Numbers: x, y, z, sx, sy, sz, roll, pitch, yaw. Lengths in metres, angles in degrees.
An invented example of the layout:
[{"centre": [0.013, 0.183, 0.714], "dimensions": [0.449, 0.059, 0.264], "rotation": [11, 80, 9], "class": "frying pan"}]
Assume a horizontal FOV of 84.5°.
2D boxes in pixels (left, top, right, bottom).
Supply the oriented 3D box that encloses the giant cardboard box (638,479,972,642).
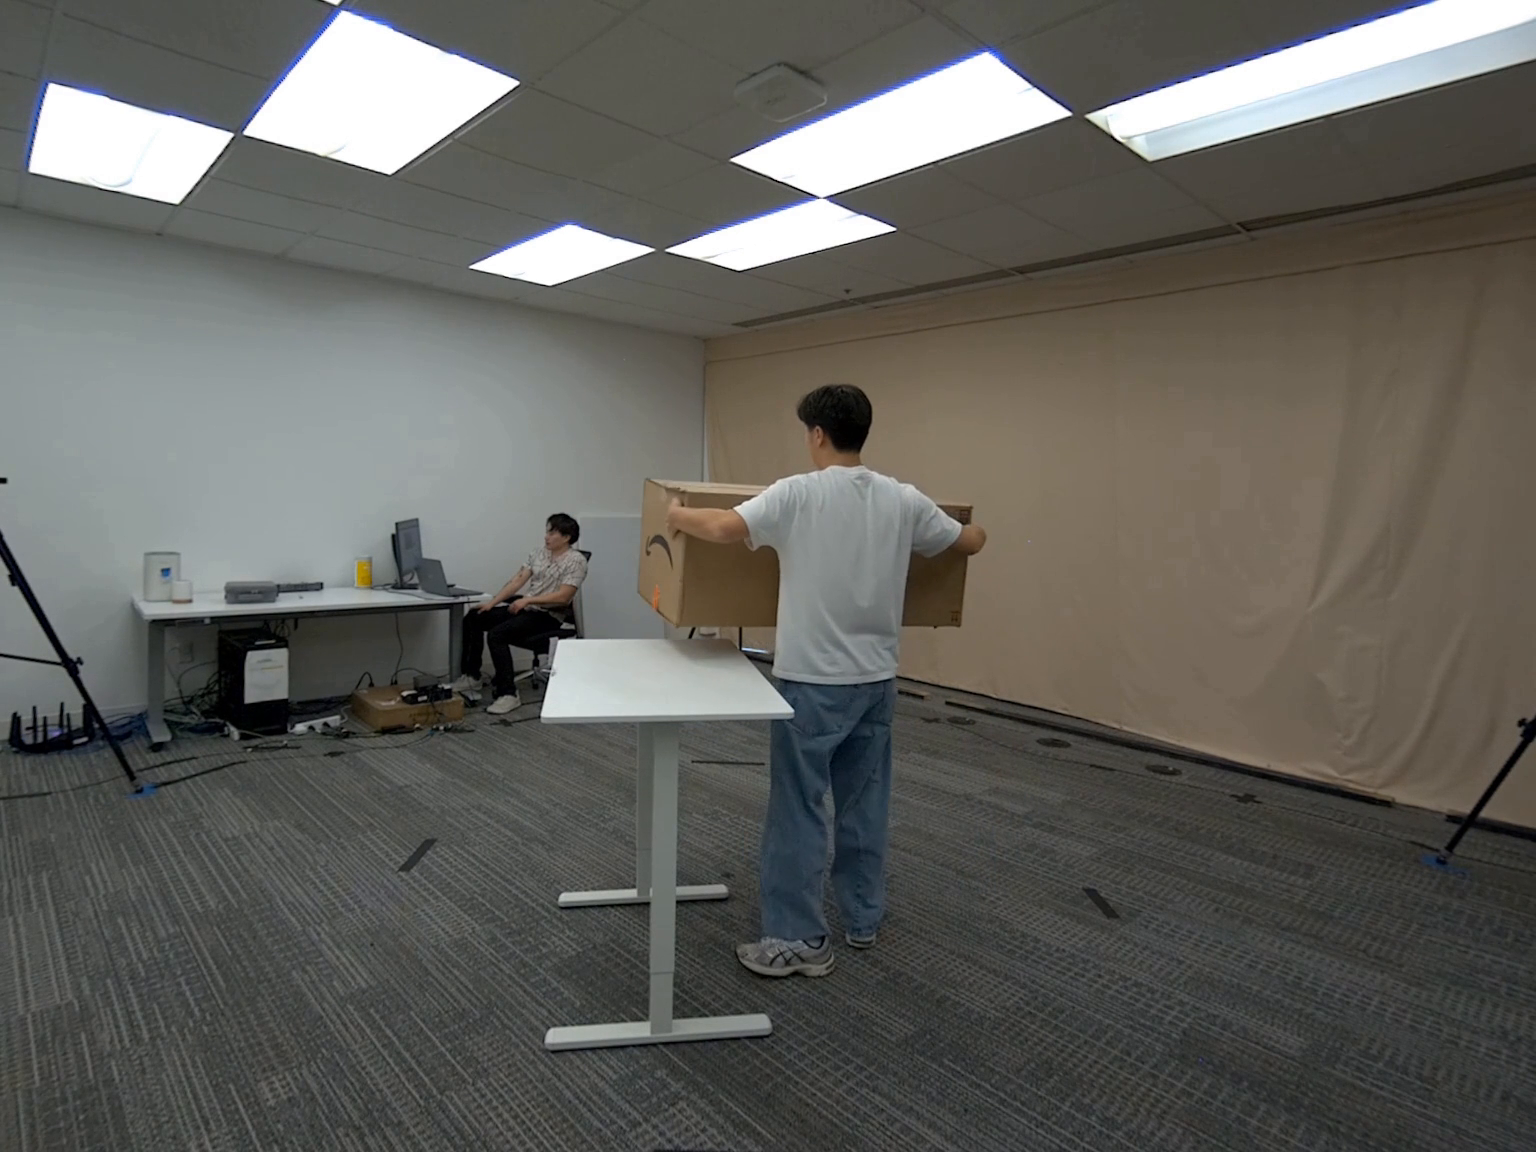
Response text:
[{"centre": [0.096, -0.078, 2.982], "dimensions": [1.011, 0.424, 0.589], "rotation": [1, 9, -19], "class": "giant cardboard box"}]
